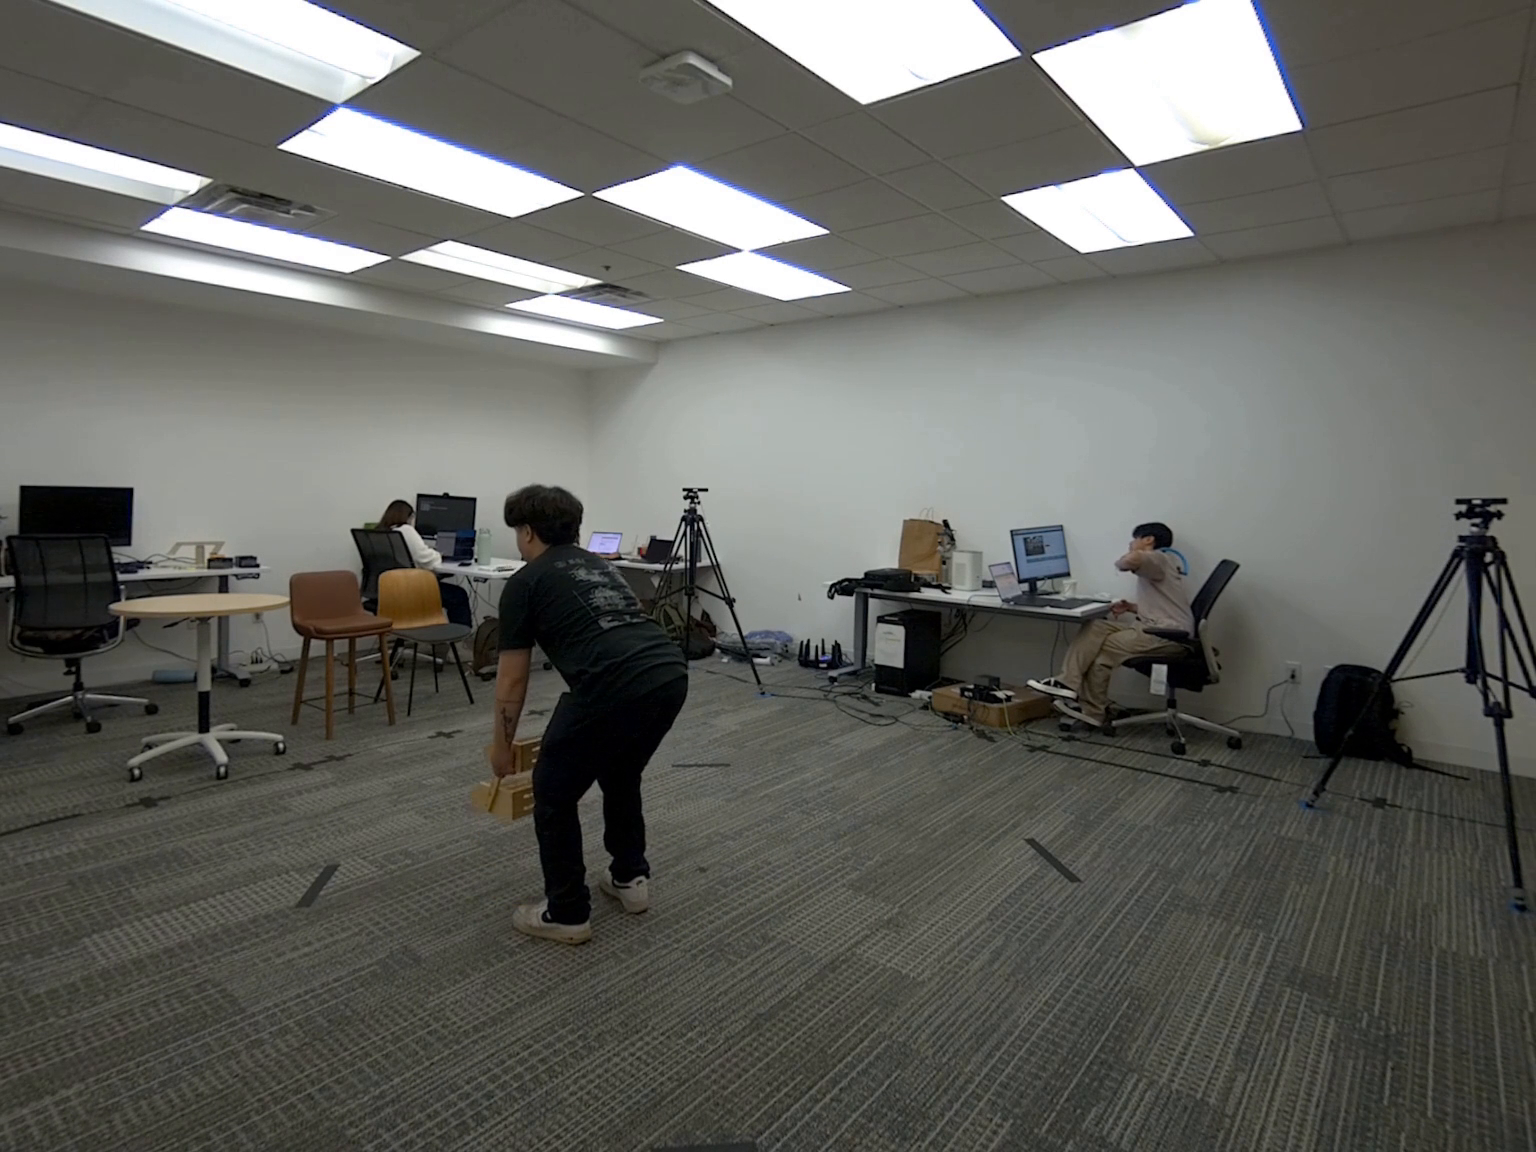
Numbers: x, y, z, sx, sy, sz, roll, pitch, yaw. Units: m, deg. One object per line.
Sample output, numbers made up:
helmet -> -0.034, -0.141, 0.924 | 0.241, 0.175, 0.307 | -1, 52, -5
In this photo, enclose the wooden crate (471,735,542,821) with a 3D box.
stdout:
wooden crate -> -0.849, 0.660, 2.975 | 0.312, 0.273, 0.315 | 2, 4, 38
